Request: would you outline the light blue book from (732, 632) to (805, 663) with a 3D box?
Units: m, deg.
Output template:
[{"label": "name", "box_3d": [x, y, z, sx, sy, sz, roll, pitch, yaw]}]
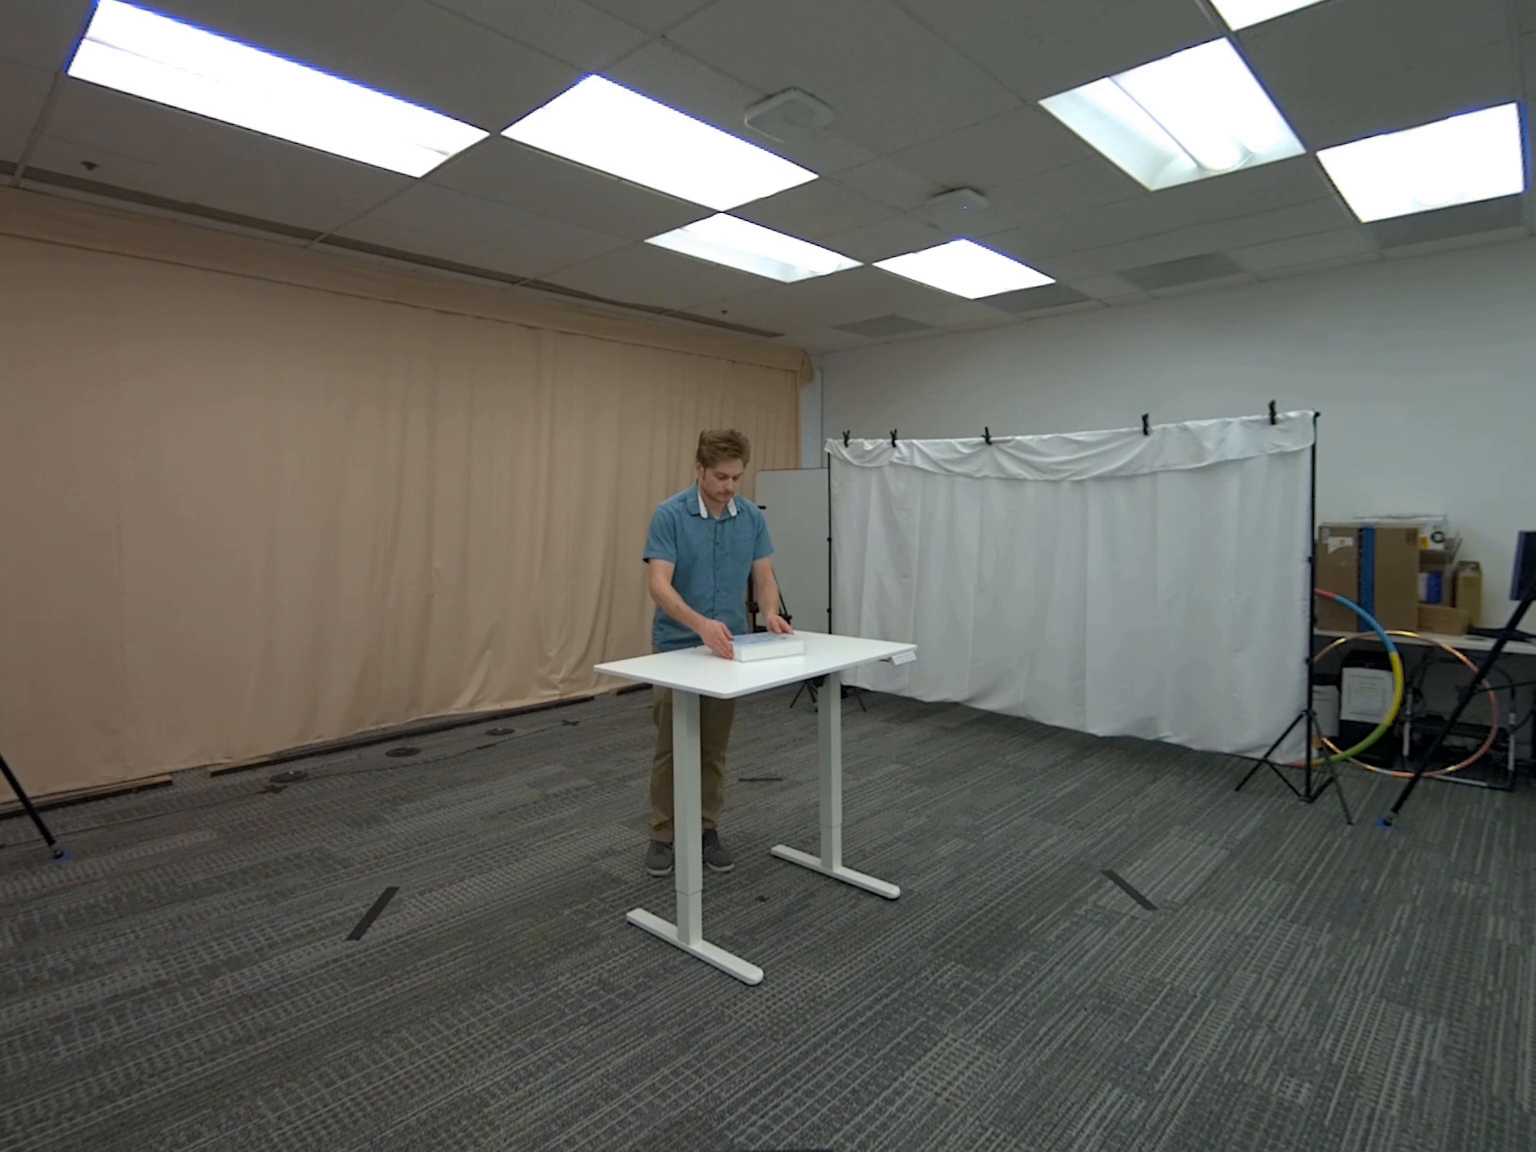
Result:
[{"label": "light blue book", "box_3d": [-0.028, 0.243, 2.888, 0.254, 0.059, 0.197, -5, 6, -32]}]
